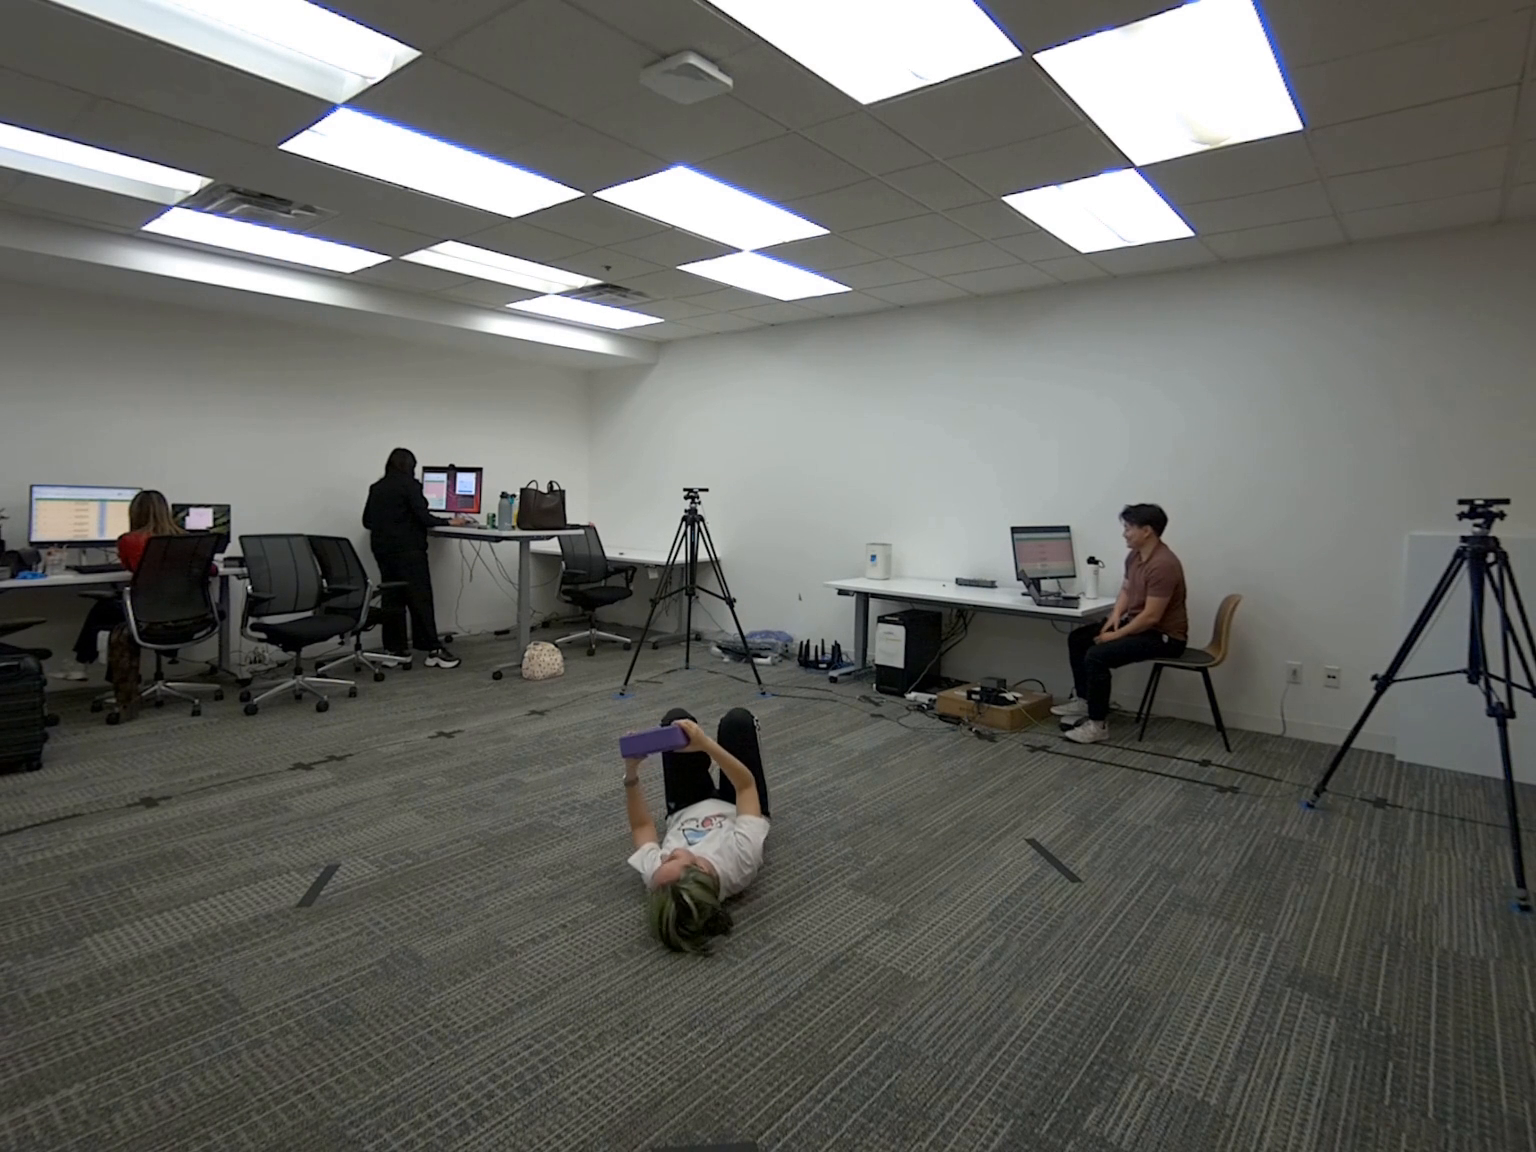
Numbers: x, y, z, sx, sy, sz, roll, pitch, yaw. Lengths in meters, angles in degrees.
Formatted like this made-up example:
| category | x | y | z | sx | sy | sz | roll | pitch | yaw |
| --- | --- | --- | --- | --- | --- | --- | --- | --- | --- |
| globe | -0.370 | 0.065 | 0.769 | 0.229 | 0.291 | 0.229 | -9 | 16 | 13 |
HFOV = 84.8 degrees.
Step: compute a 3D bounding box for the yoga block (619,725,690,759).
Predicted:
| category | x | y | z | sx | sy | sz | roll | pitch | yaw |
| --- | --- | --- | --- | --- | --- | --- | --- | --- | --- |
| yoga block | -0.405 | 0.576 | 2.966 | 0.232 | 0.077 | 0.145 | -14 | -10 | 18 |
